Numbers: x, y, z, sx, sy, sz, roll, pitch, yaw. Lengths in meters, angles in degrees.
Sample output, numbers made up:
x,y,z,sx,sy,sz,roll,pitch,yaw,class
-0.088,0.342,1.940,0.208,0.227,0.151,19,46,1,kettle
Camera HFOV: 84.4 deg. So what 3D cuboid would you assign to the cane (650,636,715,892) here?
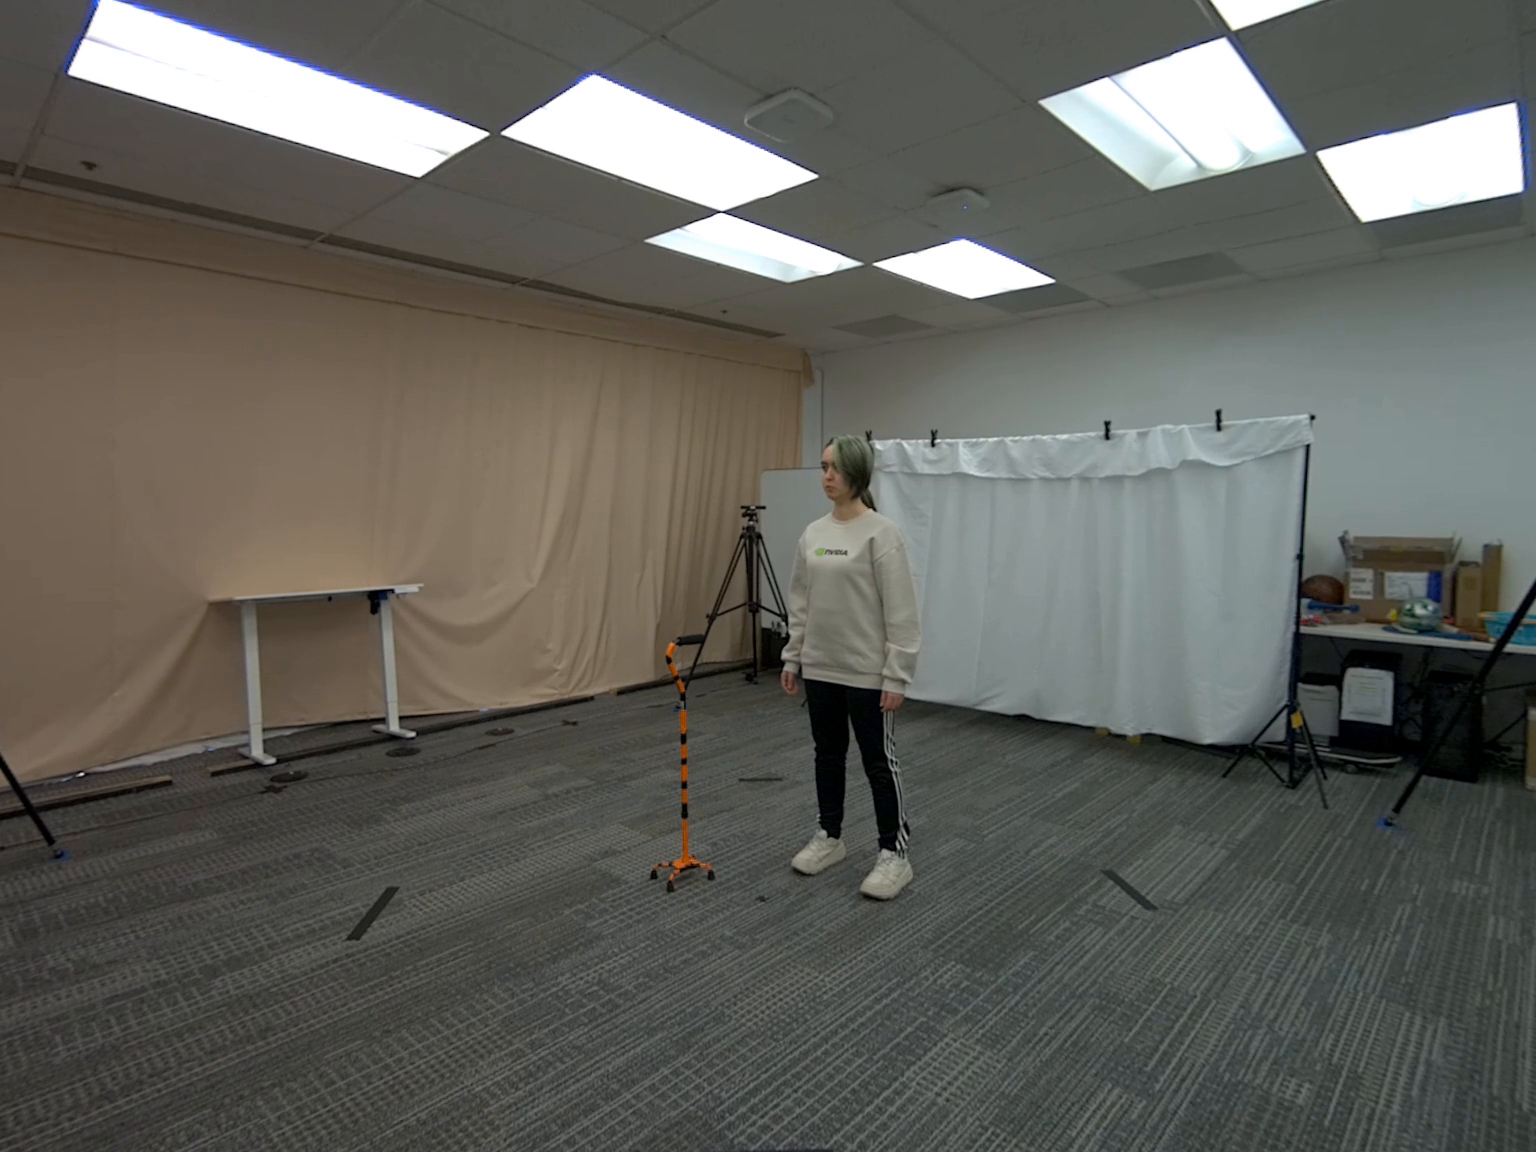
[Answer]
x,y,z,sx,sy,sz,roll,pitch,yaw,class
-0.320,0.679,3.129,0.200,0.906,0.156,-2,3,-36,cane
